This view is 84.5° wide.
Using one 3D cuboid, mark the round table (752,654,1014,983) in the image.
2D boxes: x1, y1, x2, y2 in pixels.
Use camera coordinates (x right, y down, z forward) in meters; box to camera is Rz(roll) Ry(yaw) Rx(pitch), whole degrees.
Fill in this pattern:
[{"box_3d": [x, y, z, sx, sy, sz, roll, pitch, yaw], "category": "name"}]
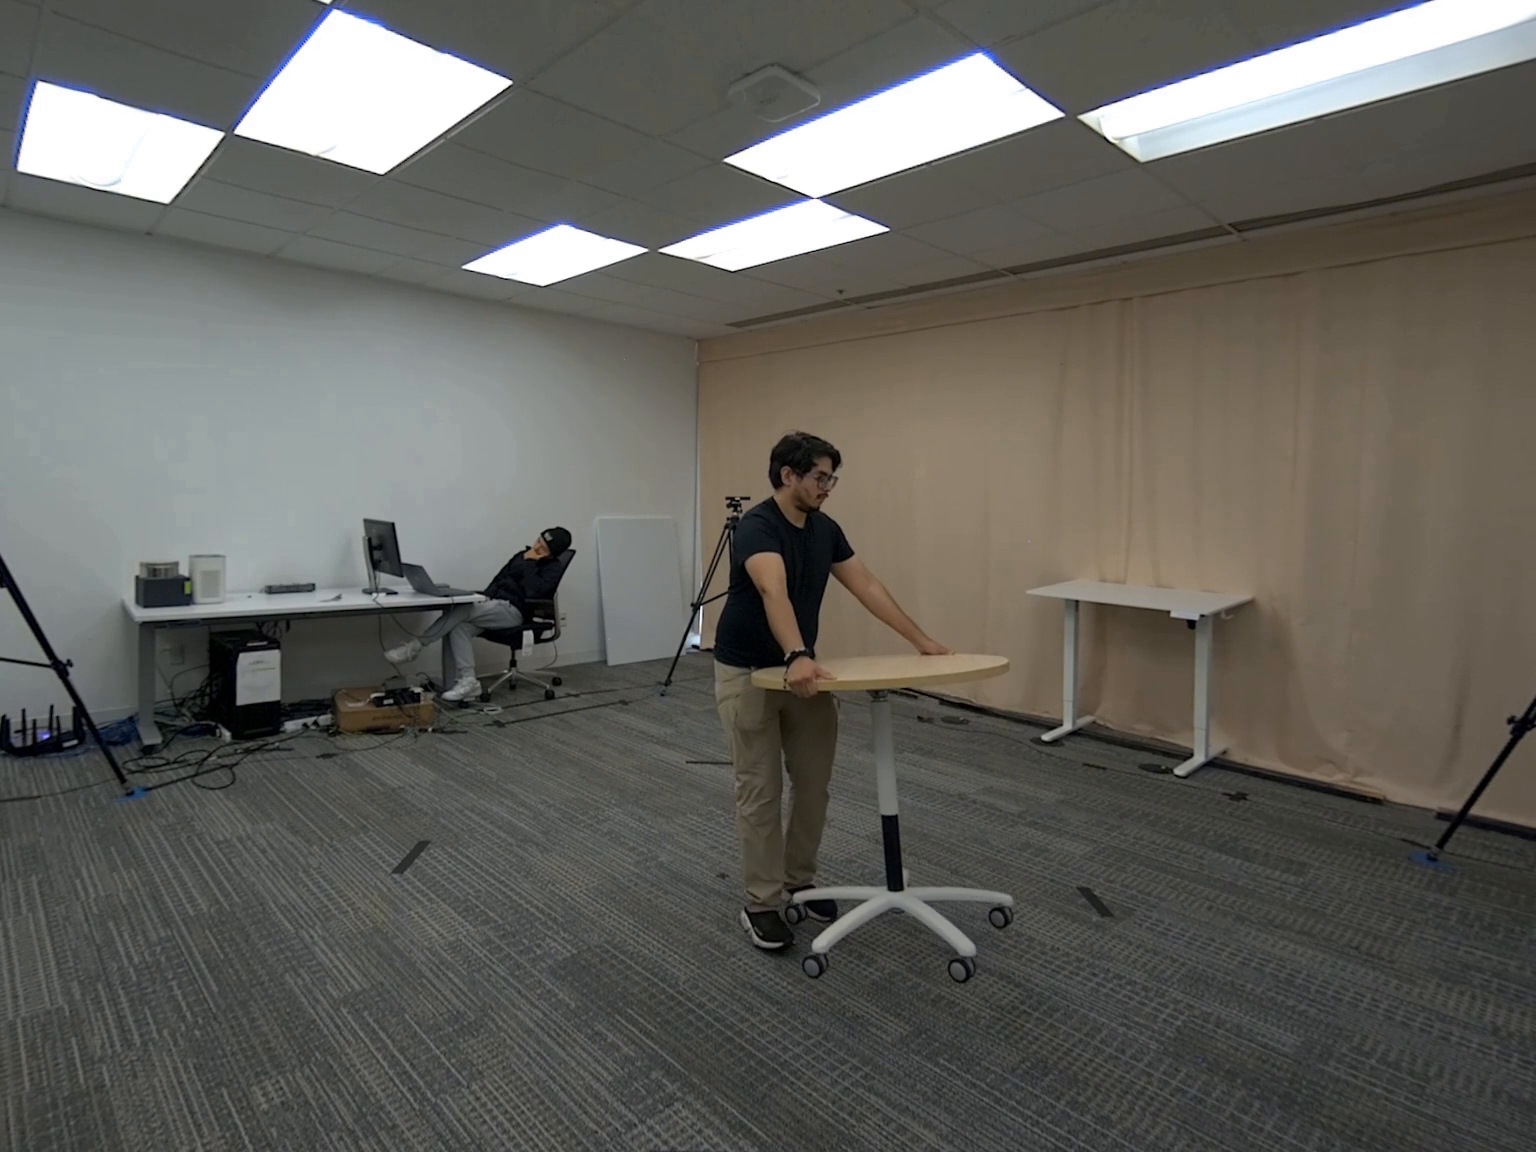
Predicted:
[{"box_3d": [0.367, 0.678, 2.531, 0.784, 0.788, 0.784, -3, -3, -2], "category": "round table"}]
